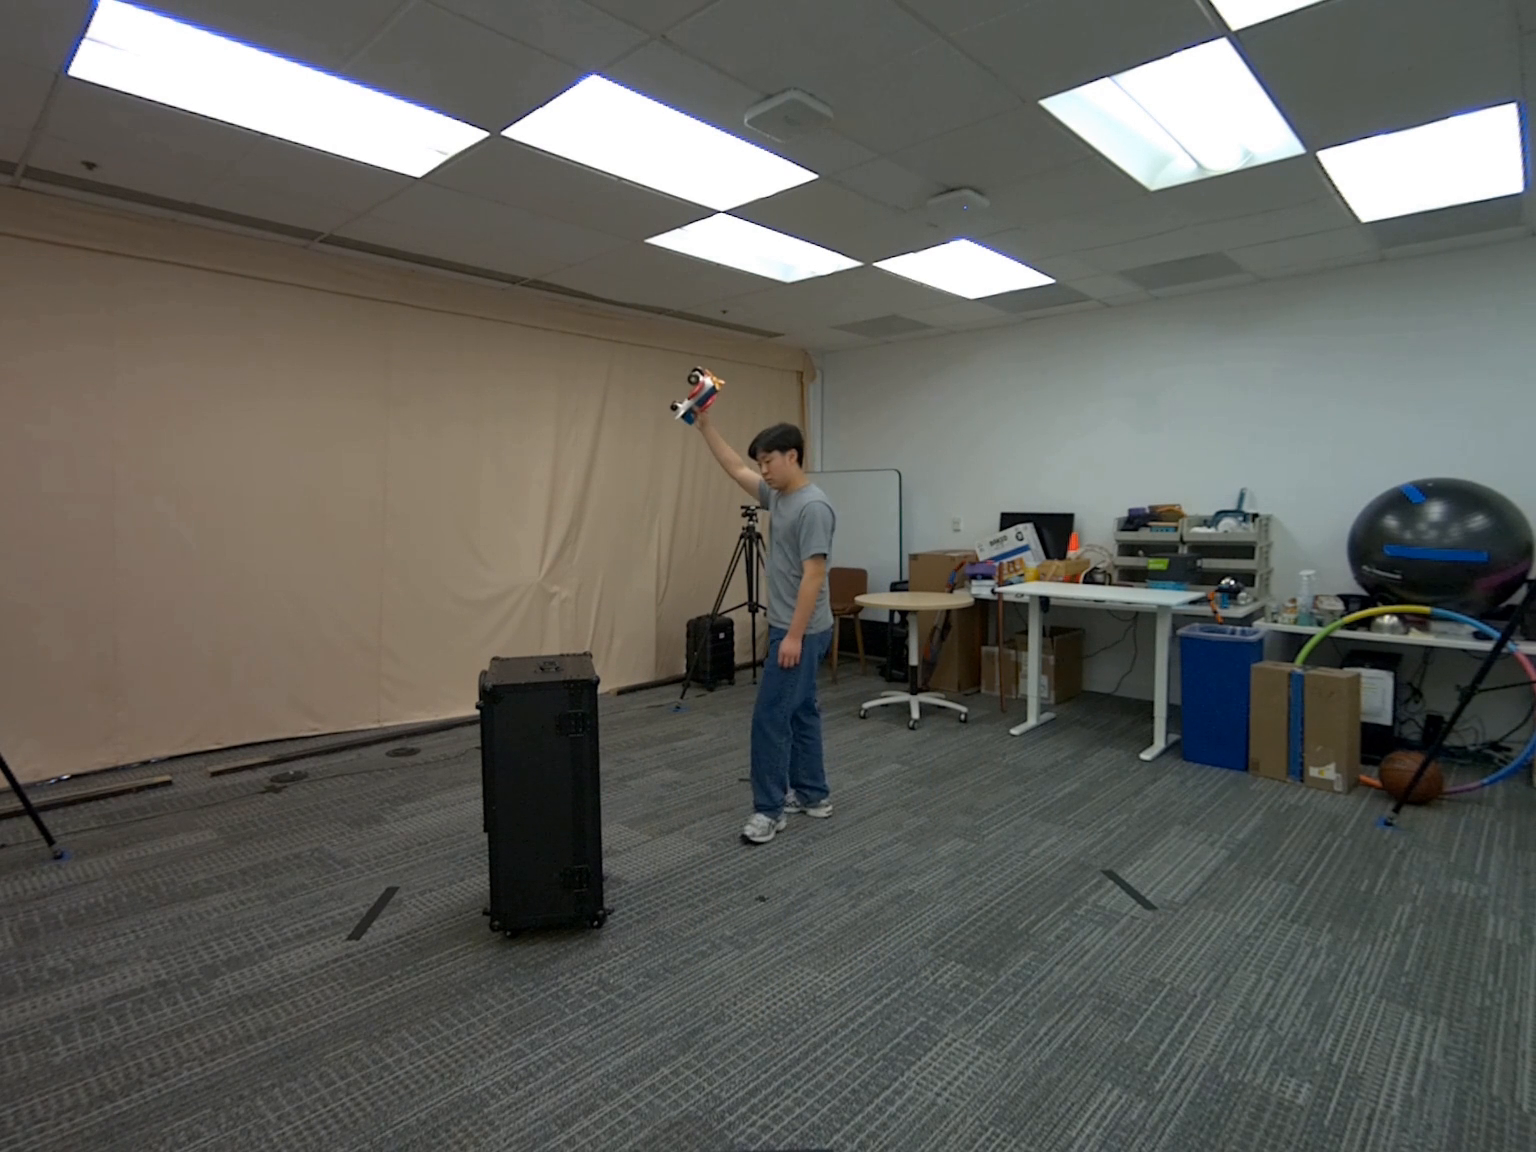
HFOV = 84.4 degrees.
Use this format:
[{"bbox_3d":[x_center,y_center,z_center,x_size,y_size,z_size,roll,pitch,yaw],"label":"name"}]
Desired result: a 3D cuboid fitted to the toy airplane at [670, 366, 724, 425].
[{"bbox_3d":[-0.302,-0.822,3.809,0.155,0.252,0.261,31,-32,-9],"label":"toy airplane"}]
